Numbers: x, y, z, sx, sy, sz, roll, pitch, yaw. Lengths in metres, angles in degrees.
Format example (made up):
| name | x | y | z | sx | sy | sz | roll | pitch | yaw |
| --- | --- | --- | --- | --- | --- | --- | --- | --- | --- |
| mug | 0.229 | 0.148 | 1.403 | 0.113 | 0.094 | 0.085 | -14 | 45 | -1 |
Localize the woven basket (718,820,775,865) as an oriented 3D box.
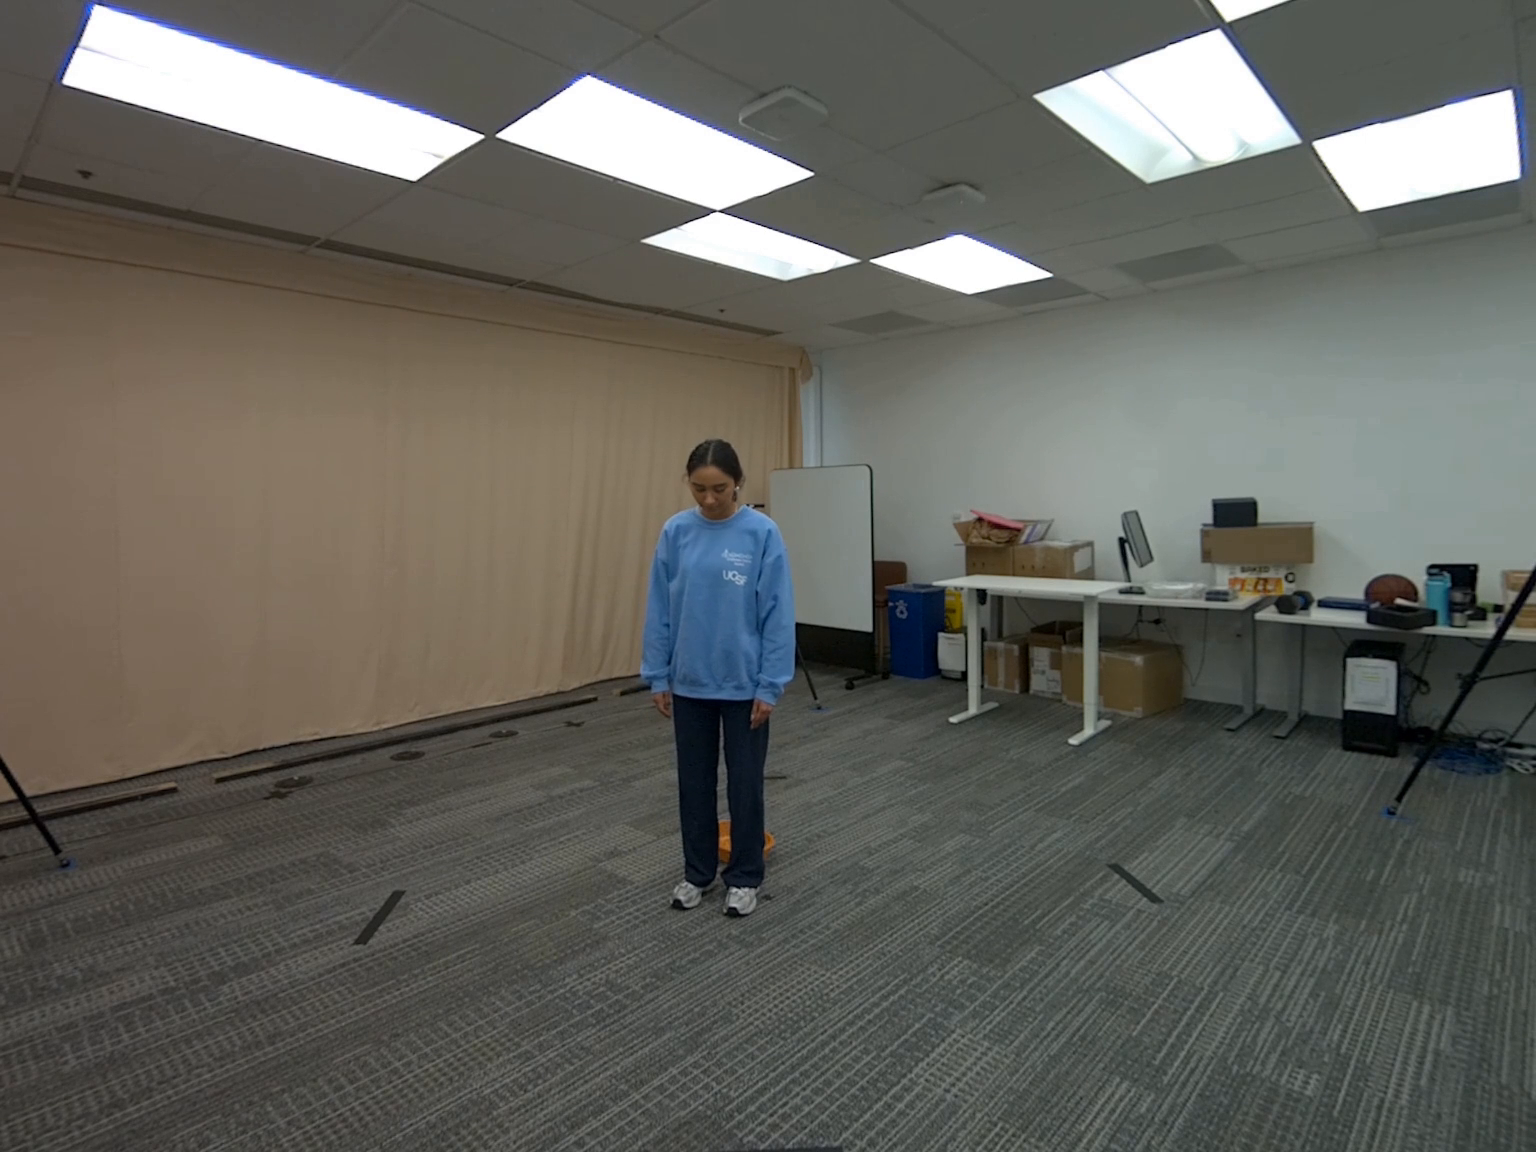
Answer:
| name | x | y | z | sx | sy | sz | roll | pitch | yaw |
| --- | --- | --- | --- | --- | --- | --- | --- | --- | --- |
| woven basket | -0.121 | 1.069 | 3.367 | 0.246 | 0.073 | 0.360 | -3 | 4 | -26 |
